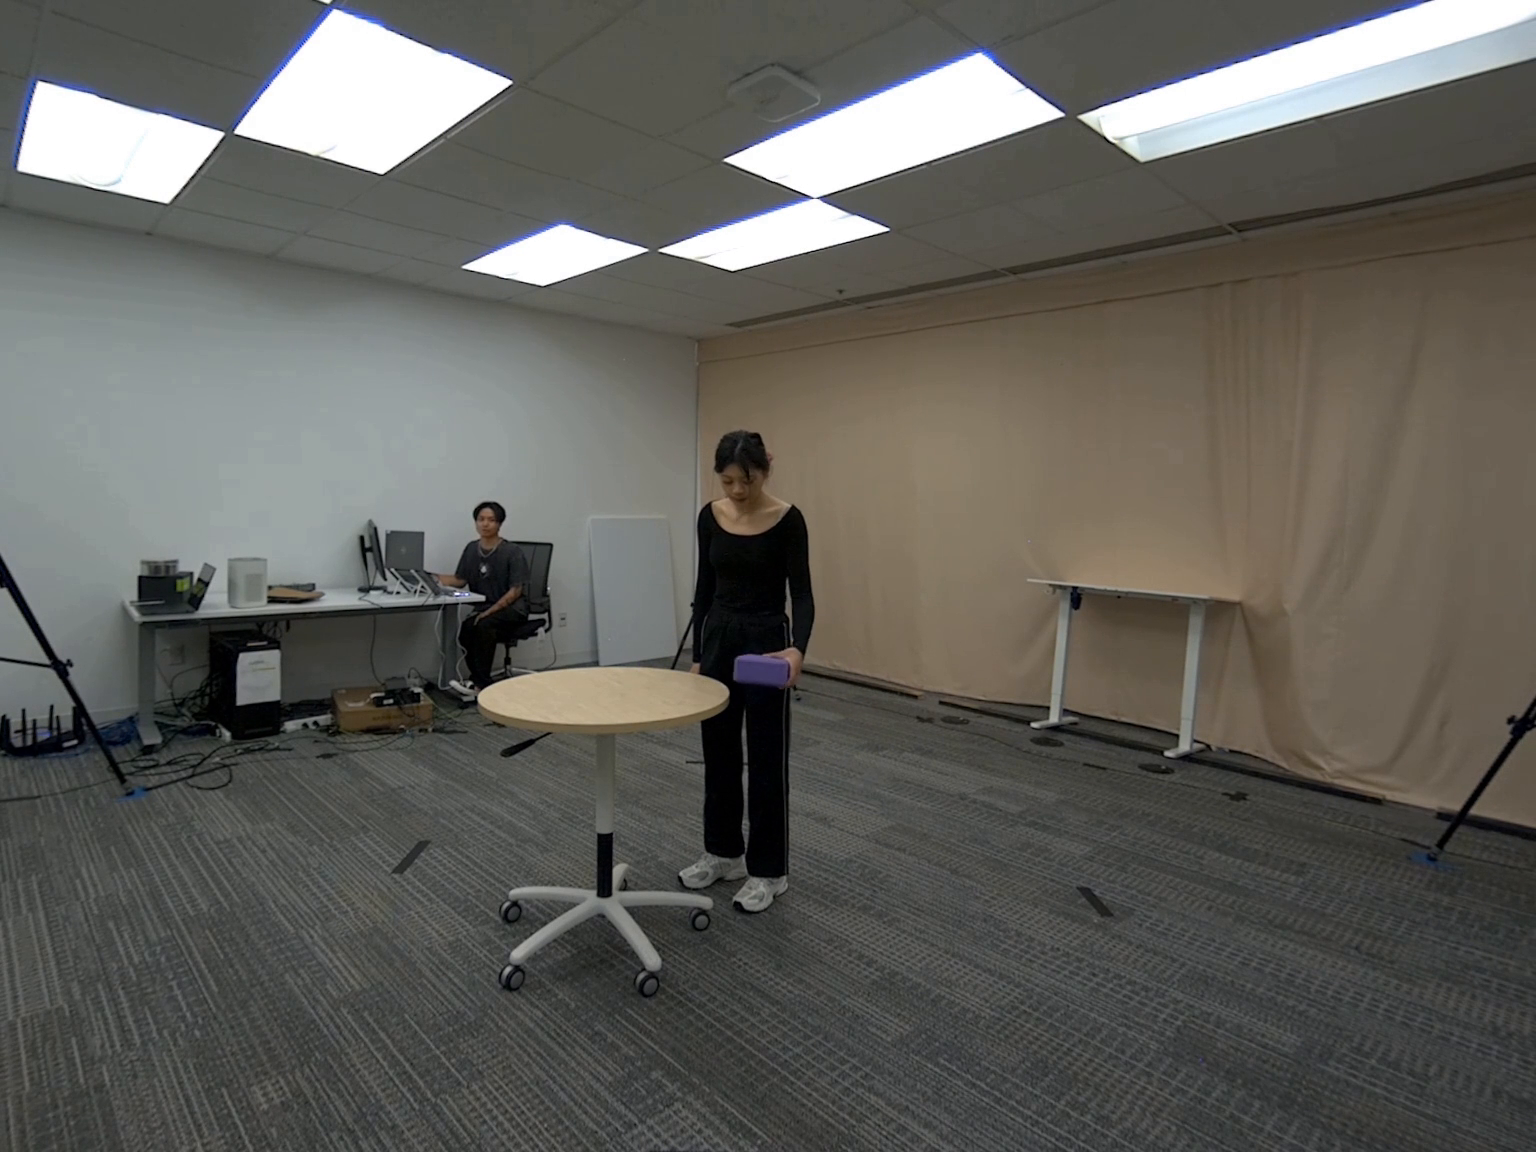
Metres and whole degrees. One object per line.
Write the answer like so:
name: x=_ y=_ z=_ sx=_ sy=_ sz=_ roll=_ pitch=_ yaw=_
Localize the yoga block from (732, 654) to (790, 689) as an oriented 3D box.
yoga block: x=-0.032 y=0.292 z=2.565 sx=0.149 sy=0.076 sz=0.228 roll=6 pitch=-3 yaw=3
